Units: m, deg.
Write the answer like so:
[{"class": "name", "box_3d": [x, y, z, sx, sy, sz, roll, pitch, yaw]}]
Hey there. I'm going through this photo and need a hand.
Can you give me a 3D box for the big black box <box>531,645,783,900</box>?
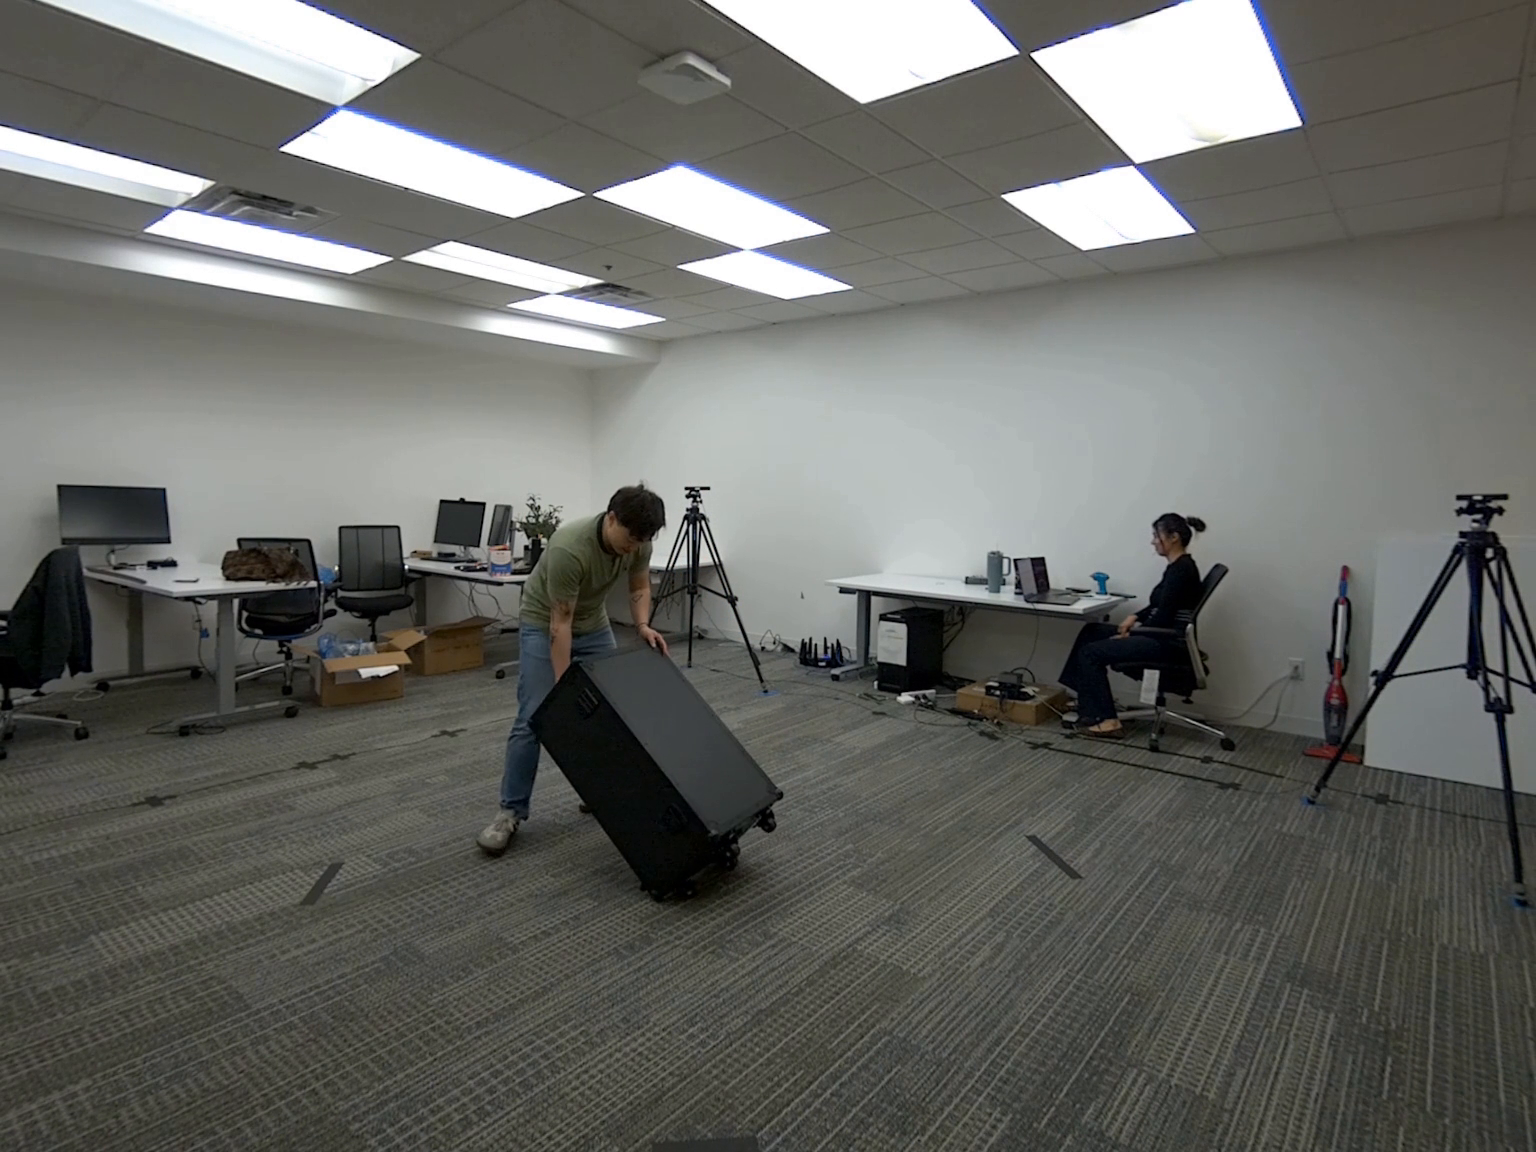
[{"class": "big black box", "box_3d": [-0.408, 0.699, 3.089, 0.886, 0.395, 0.508, 46, 23, 20]}]
